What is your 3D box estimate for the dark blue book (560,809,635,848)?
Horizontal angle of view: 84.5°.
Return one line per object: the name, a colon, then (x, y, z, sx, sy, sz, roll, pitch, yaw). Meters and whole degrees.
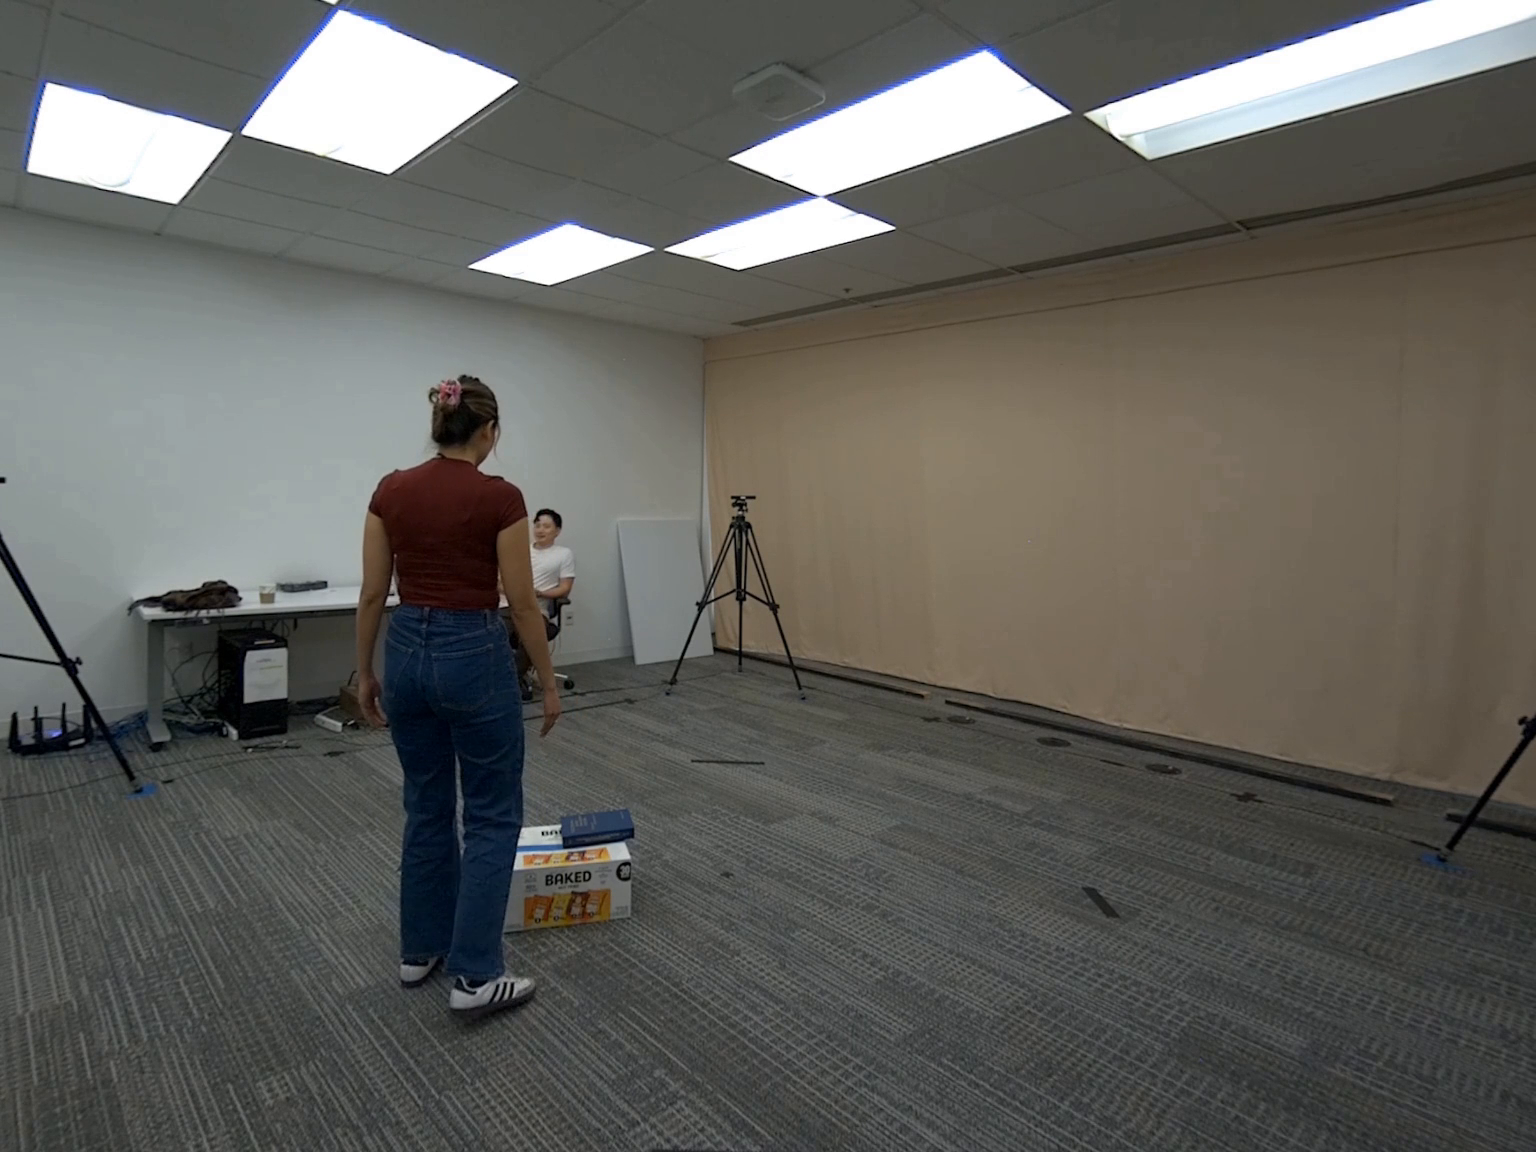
dark blue book: (-0.612, 0.887, 2.948, 0.242, 0.045, 0.166, -3, 8, -16)
